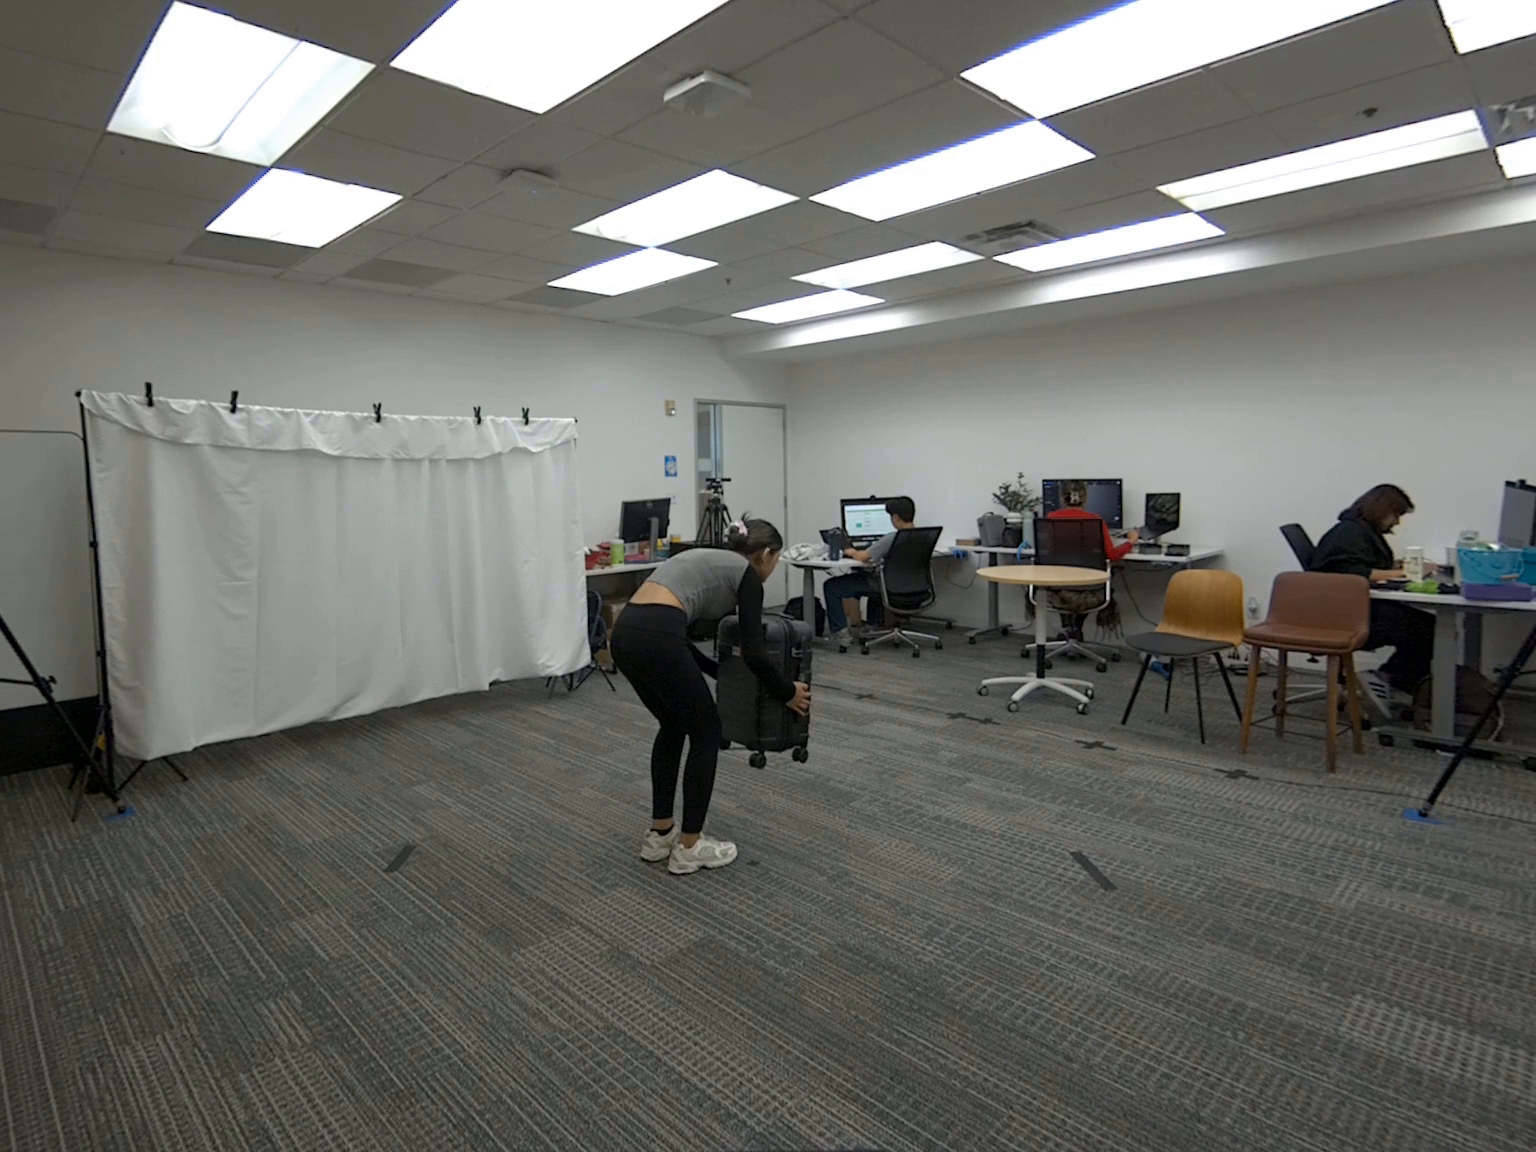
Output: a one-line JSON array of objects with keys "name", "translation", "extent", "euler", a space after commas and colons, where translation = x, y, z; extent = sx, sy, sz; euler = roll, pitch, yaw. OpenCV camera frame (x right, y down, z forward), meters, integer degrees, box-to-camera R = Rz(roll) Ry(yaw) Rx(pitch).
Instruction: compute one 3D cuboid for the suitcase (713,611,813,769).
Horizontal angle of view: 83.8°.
[{"name": "suitcase", "translation": [-0.017, 0.424, 3.341], "extent": [0.241, 0.550, 0.386], "euler": [3, 0, -35]}]
